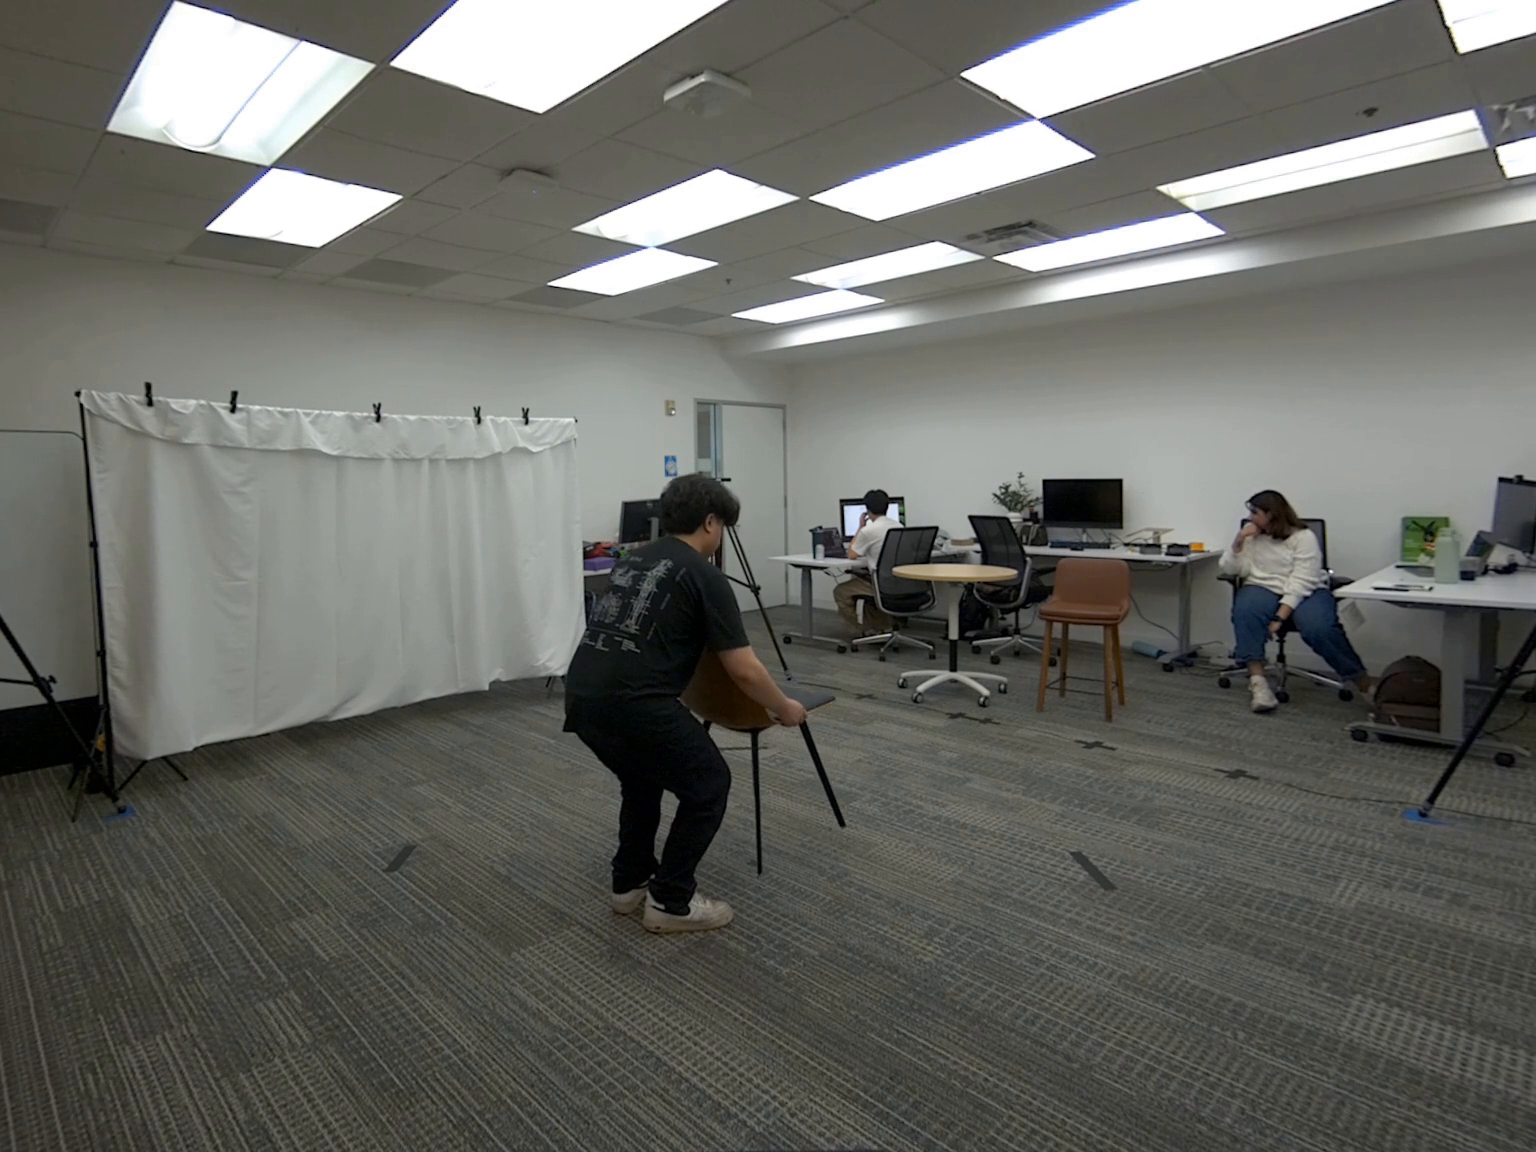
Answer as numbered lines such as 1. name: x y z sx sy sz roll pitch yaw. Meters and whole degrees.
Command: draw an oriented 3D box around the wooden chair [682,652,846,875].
1. wooden chair: -0.048 0.501 3.052 0.492 0.869 0.512 1 13 44
